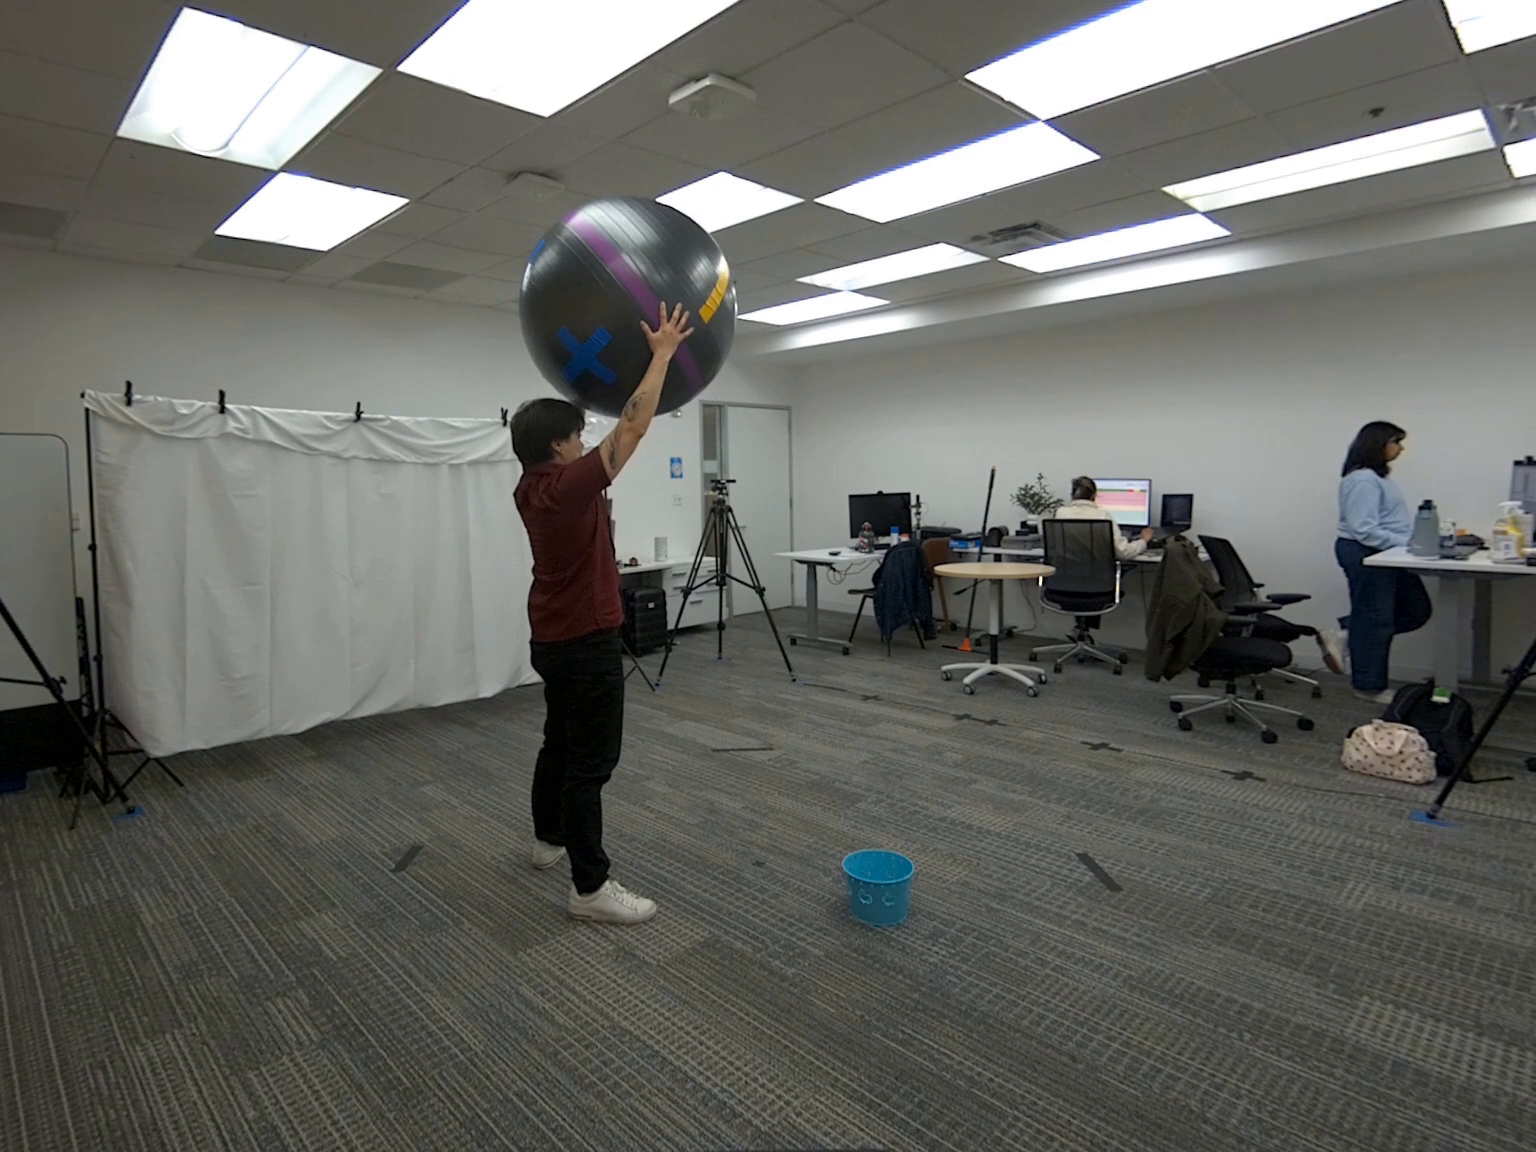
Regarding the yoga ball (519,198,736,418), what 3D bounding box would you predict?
[{"bbox_3d":[-0.481,-0.925,3.012,0.757,0.755,0.762,-1,5,-2],"label":"yoga ball"}]
